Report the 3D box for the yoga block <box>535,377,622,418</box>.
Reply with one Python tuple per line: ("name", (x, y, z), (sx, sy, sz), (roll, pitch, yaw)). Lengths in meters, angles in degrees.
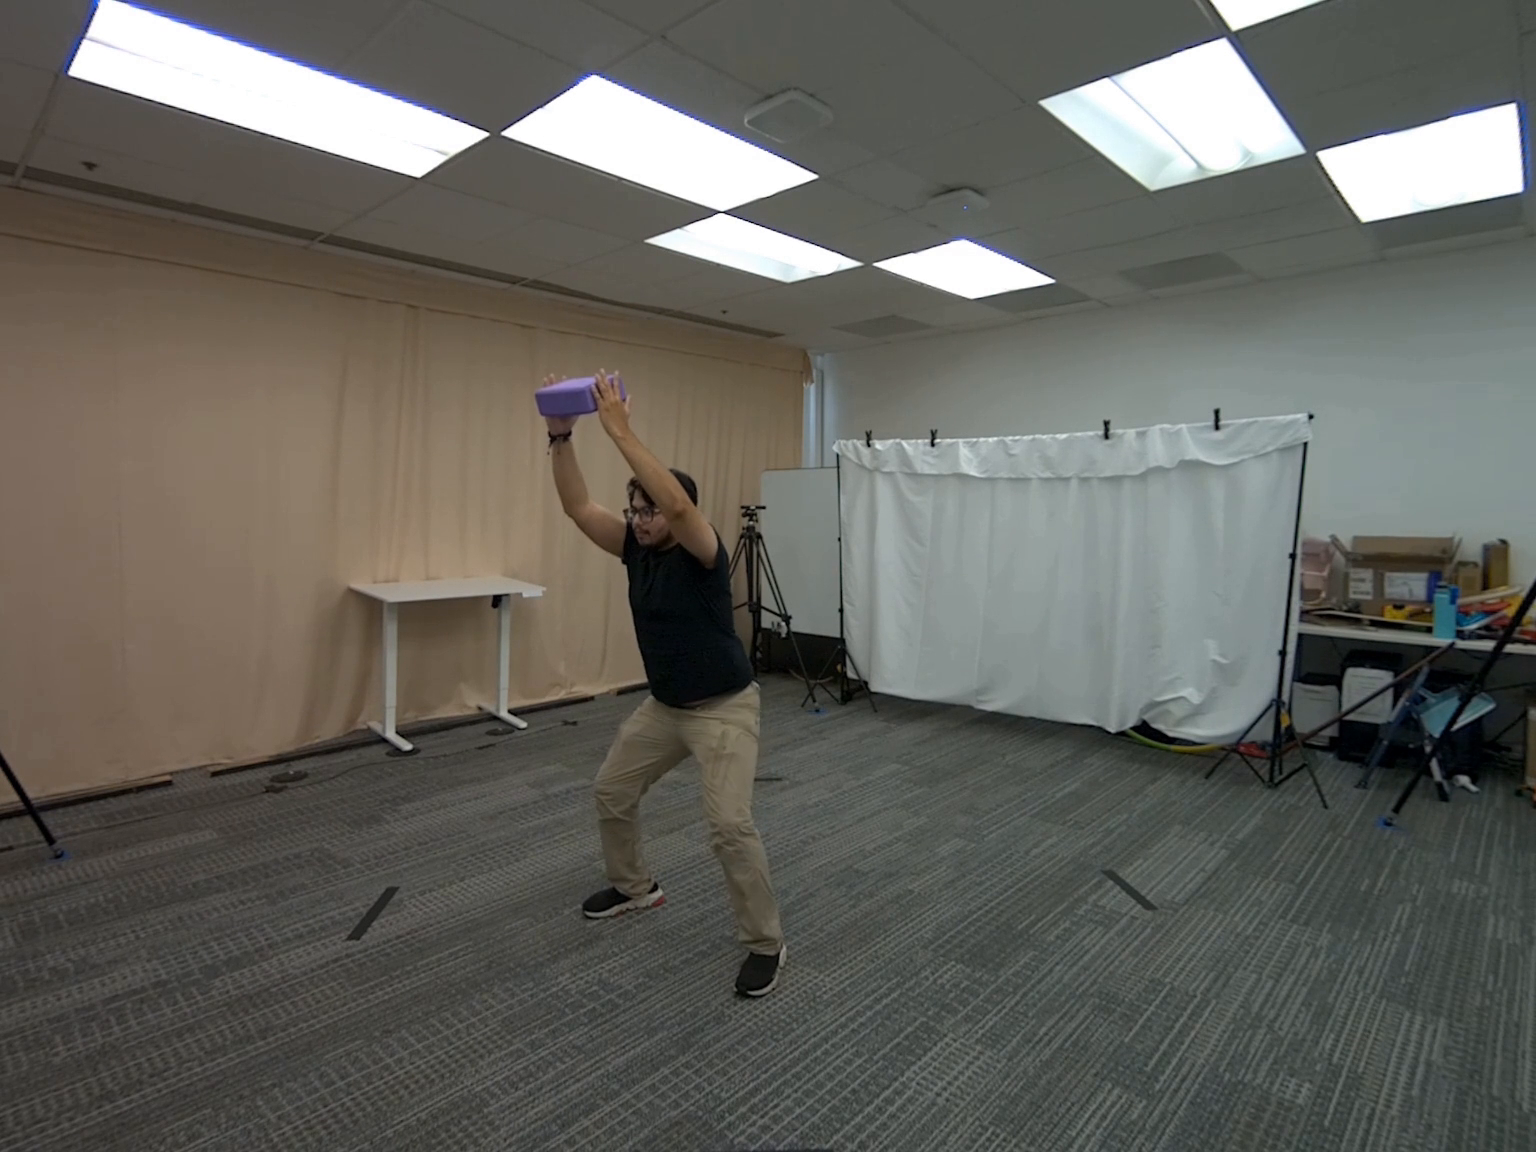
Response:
("yoga block", (-0.520, -0.507, 2.354), (0.237, 0.075, 0.146), (8, 31, 42))
